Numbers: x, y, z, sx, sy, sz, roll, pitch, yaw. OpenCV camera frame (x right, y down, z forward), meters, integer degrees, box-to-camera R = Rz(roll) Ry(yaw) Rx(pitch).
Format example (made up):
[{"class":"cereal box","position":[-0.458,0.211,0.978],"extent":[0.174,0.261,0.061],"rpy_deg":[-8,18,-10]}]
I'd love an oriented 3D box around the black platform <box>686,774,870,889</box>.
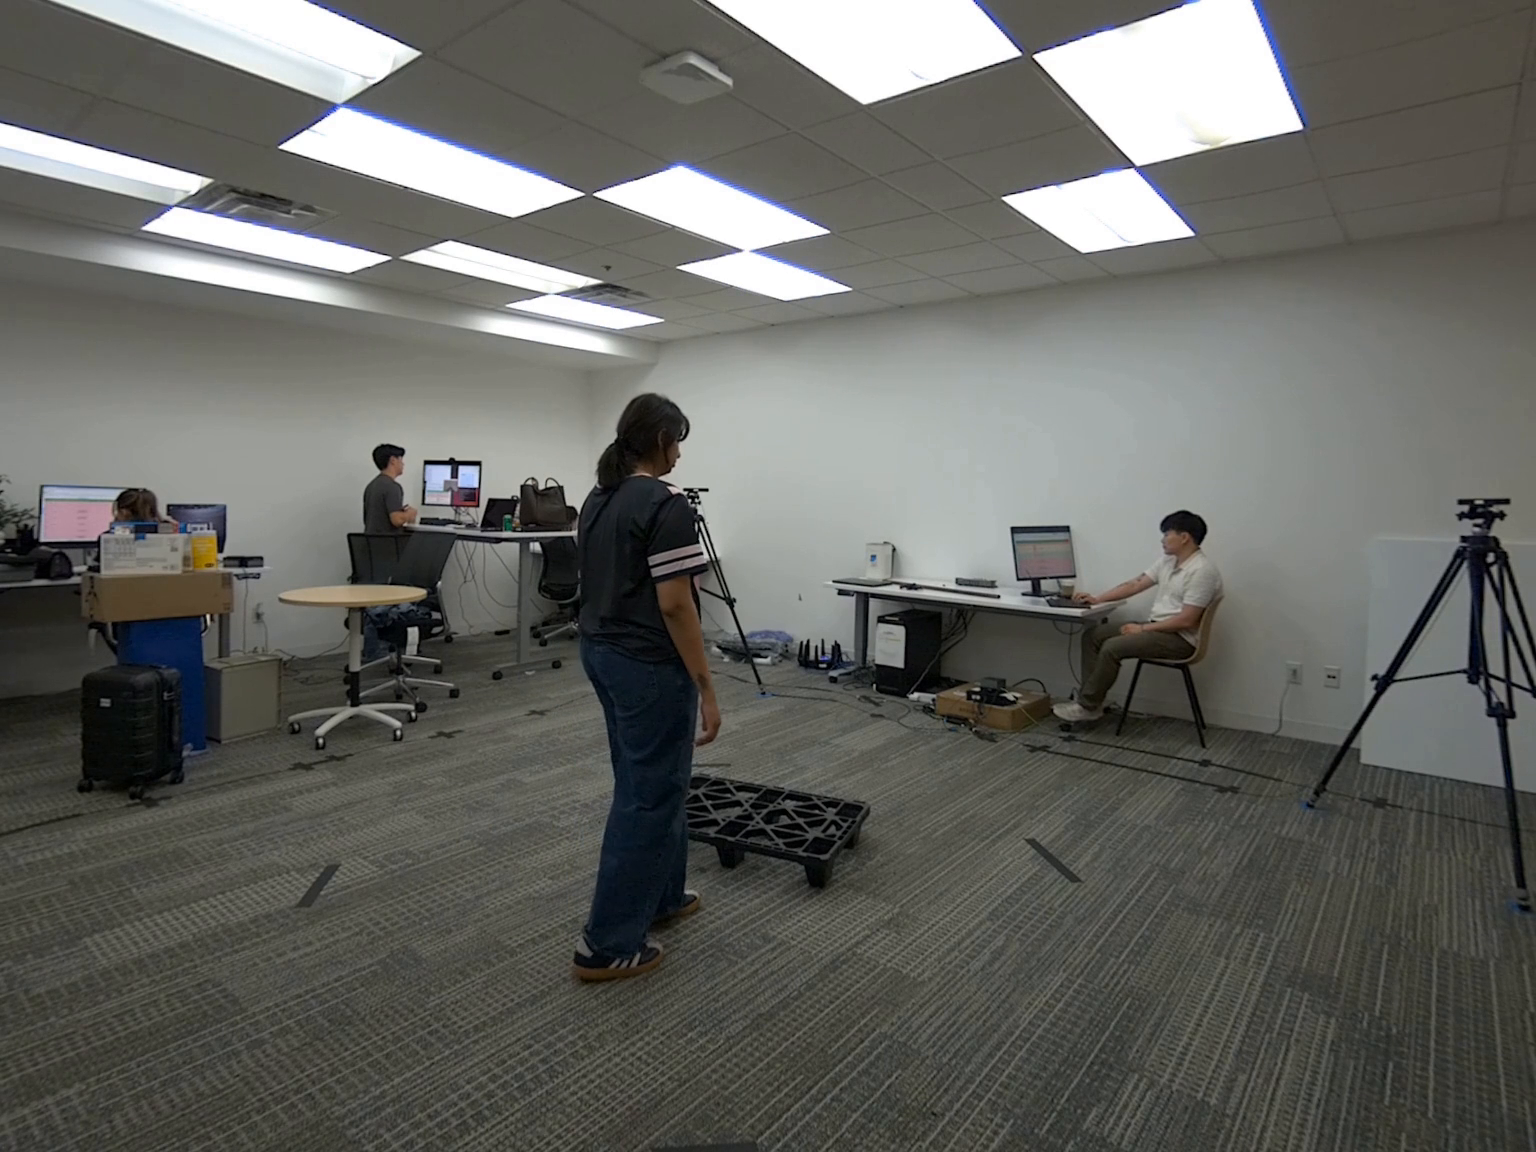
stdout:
[{"class":"black platform","position":[-0.068,0.982,3.332],"extent":[0.826,0.143,0.593],"rpy_deg":[3,6,23]}]
